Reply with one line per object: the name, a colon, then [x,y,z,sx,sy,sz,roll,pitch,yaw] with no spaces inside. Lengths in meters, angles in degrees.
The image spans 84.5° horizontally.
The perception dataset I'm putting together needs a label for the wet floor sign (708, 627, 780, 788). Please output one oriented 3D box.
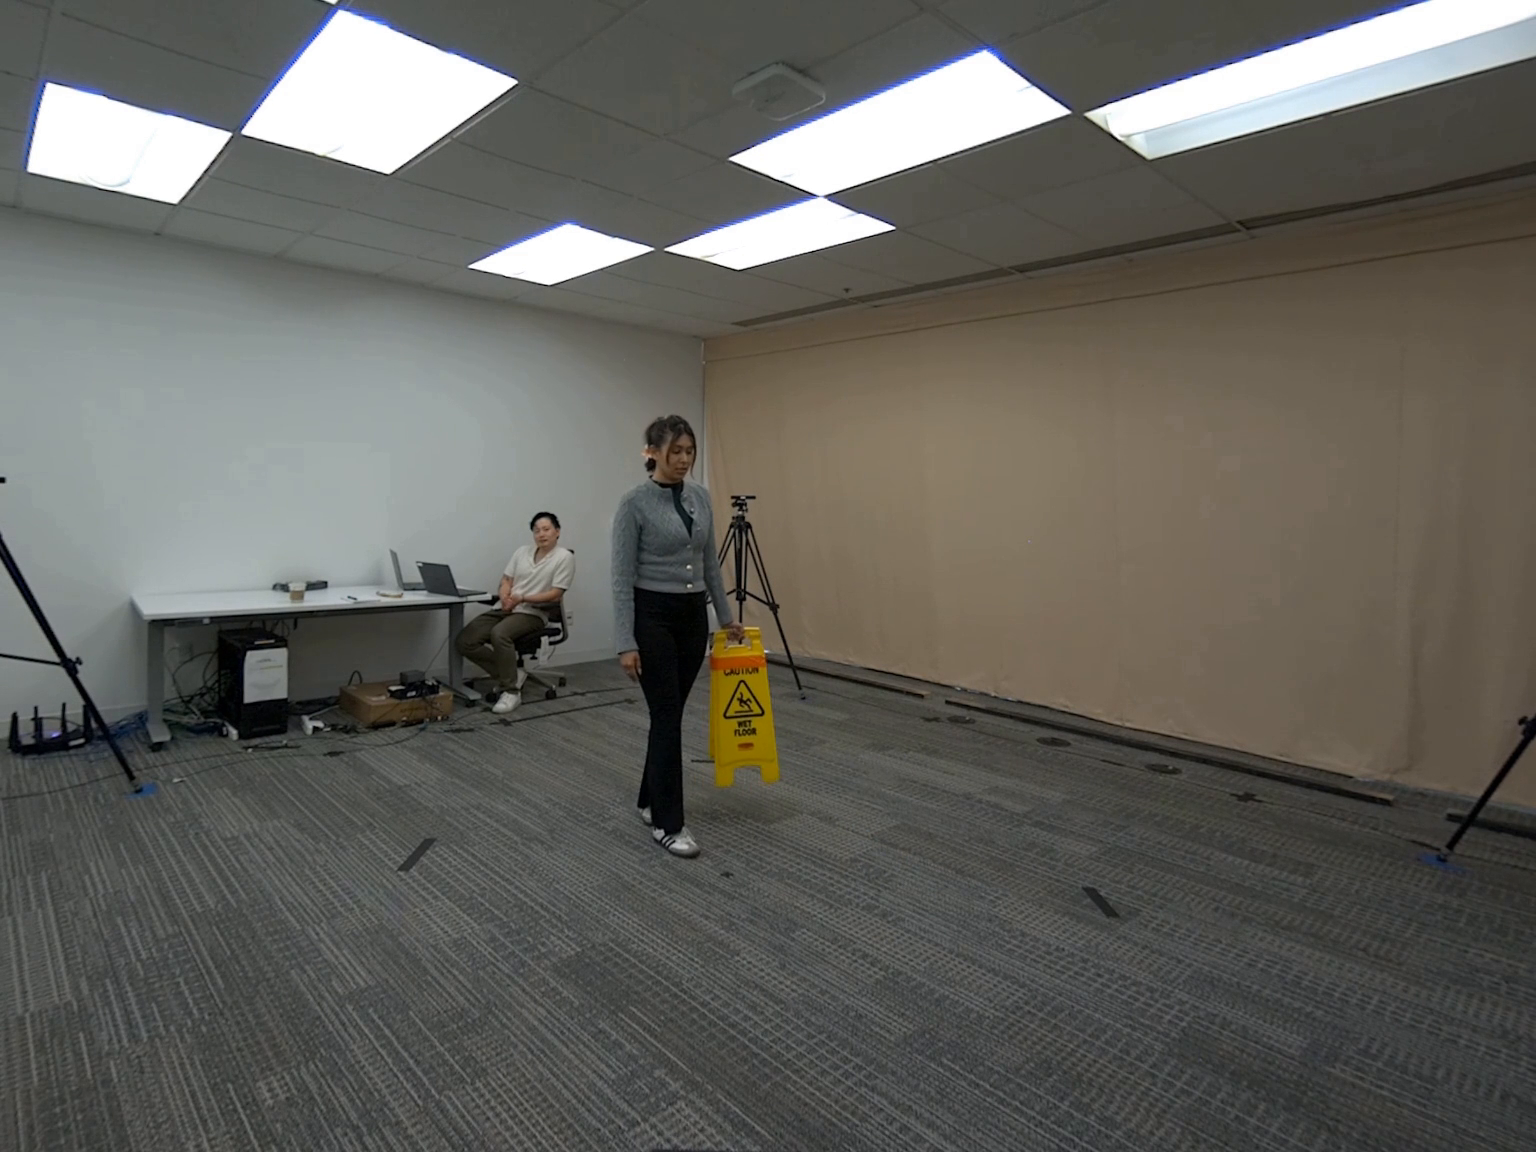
wet floor sign: [-0.123,0.546,3.671,0.281,0.640,0.294,-4,12,-8]
